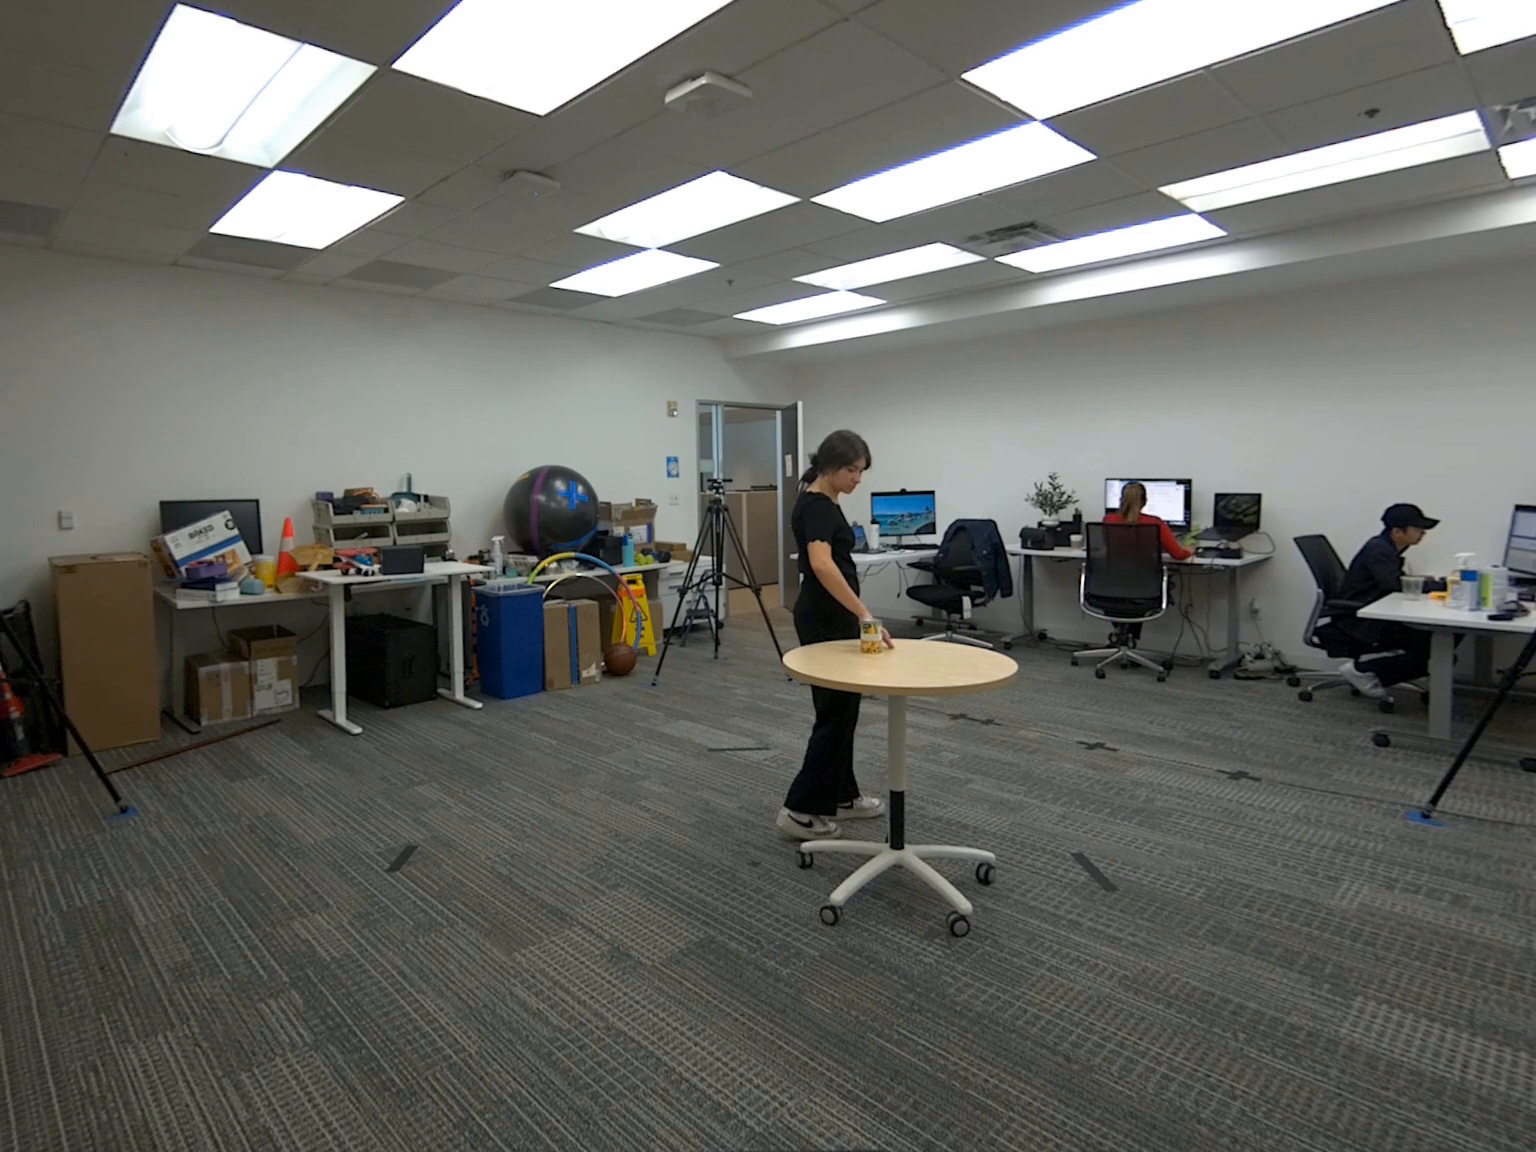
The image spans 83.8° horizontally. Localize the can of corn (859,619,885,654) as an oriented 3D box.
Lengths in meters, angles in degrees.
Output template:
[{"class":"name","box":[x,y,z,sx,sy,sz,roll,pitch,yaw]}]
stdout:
[{"class":"can of corn","box":[0.367,0.214,2.998,0.074,0.111,0.074,2,3,-2]}]
